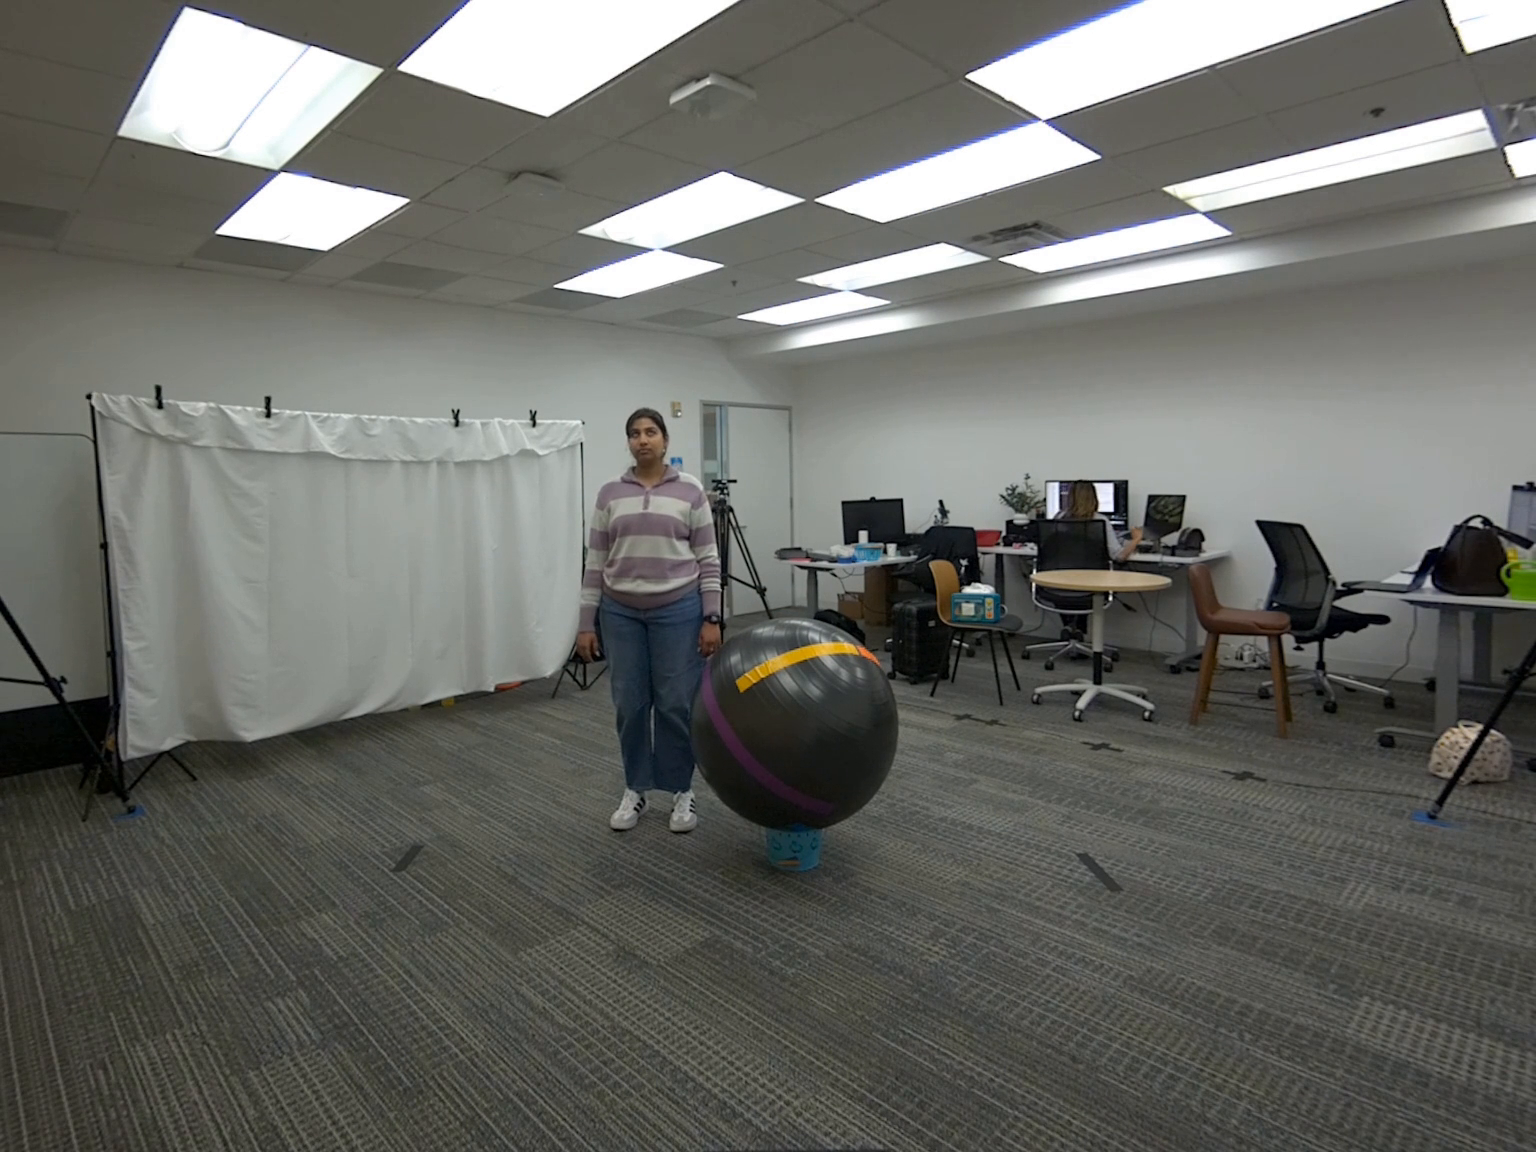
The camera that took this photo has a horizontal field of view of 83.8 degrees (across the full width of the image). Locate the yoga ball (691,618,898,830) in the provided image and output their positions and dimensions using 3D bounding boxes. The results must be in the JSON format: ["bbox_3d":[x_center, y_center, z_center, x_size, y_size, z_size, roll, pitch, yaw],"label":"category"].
[{"bbox_3d":[0.091,0.533,3.103,0.757,0.755,0.762,-1,5,-2],"label":"yoga ball"}]
